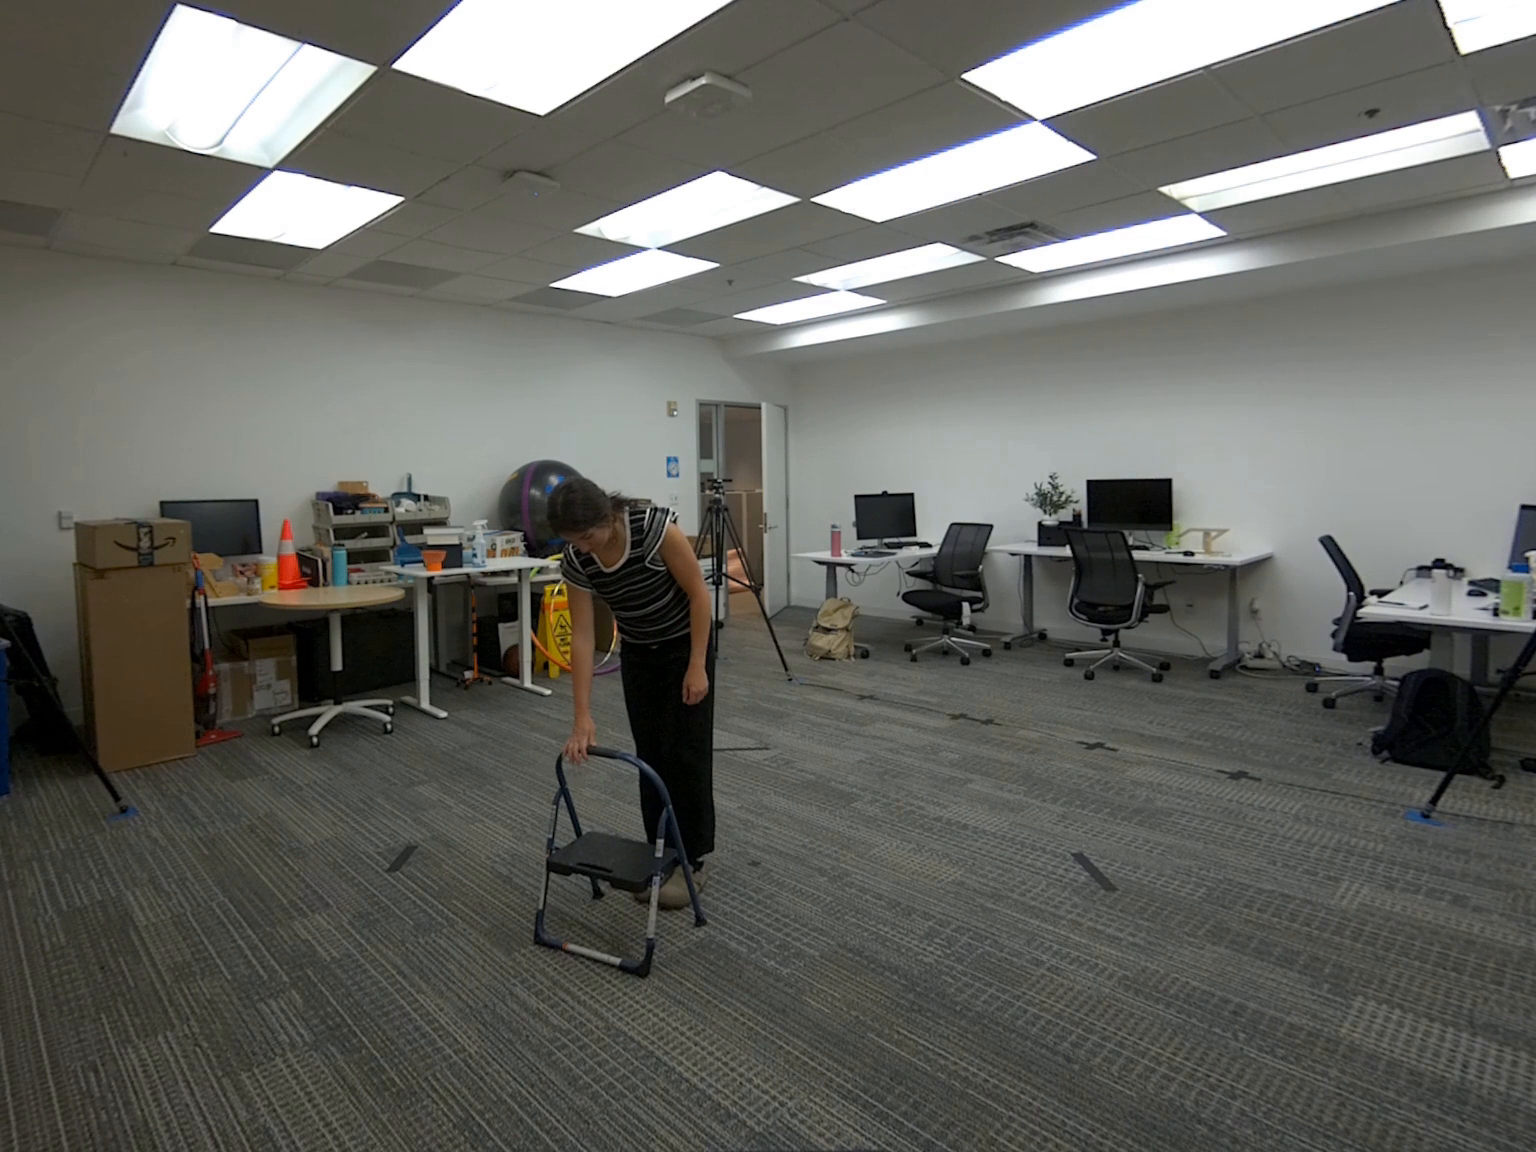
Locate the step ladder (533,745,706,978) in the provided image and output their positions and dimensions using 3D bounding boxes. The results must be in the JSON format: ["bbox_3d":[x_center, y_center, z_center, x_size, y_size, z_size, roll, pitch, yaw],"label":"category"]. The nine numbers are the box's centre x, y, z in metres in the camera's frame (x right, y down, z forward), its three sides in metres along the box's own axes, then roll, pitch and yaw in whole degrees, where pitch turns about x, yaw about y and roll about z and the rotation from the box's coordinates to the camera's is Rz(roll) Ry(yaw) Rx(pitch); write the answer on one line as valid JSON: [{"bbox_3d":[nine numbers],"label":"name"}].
[{"bbox_3d":[-0.464,0.809,2.626,0.441,0.603,0.342,1,5,27],"label":"step ladder"}]
